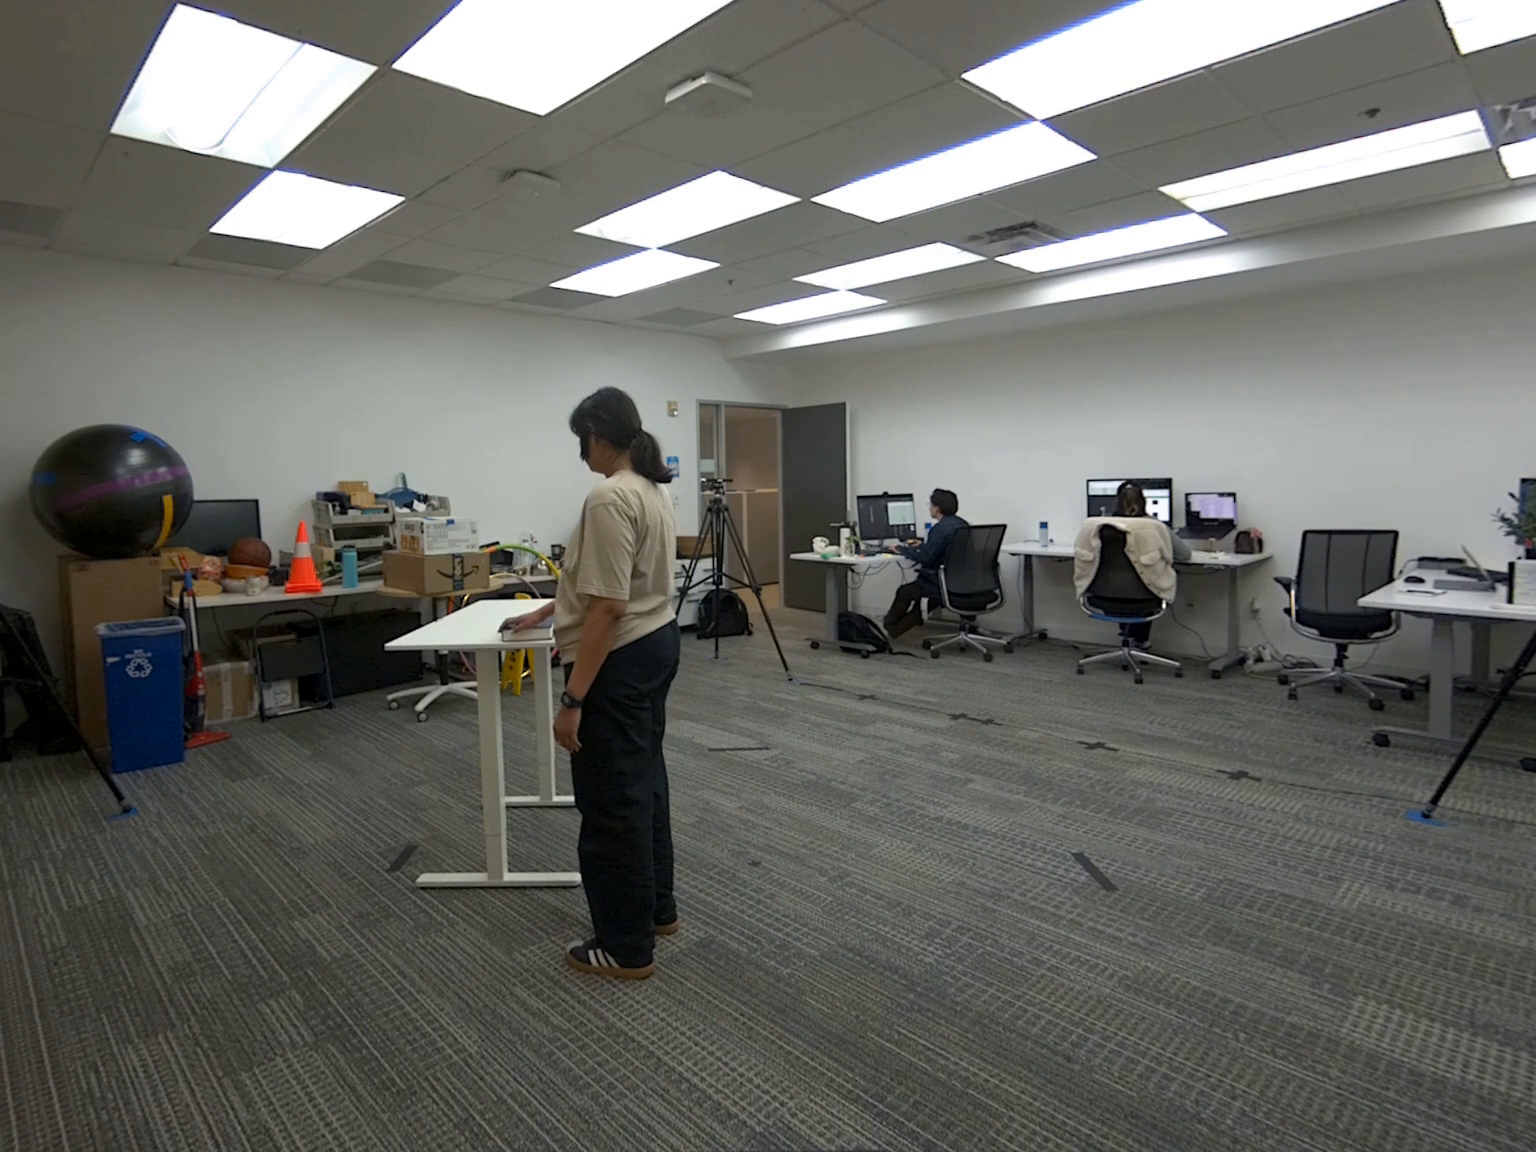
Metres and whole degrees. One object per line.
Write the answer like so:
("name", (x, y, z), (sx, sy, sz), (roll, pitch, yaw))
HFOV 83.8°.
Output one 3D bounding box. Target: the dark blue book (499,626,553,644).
("dark blue book", (-0.817, 0.180, 2.926), (0.162, 0.045, 0.248), (-3, 7, -7))
